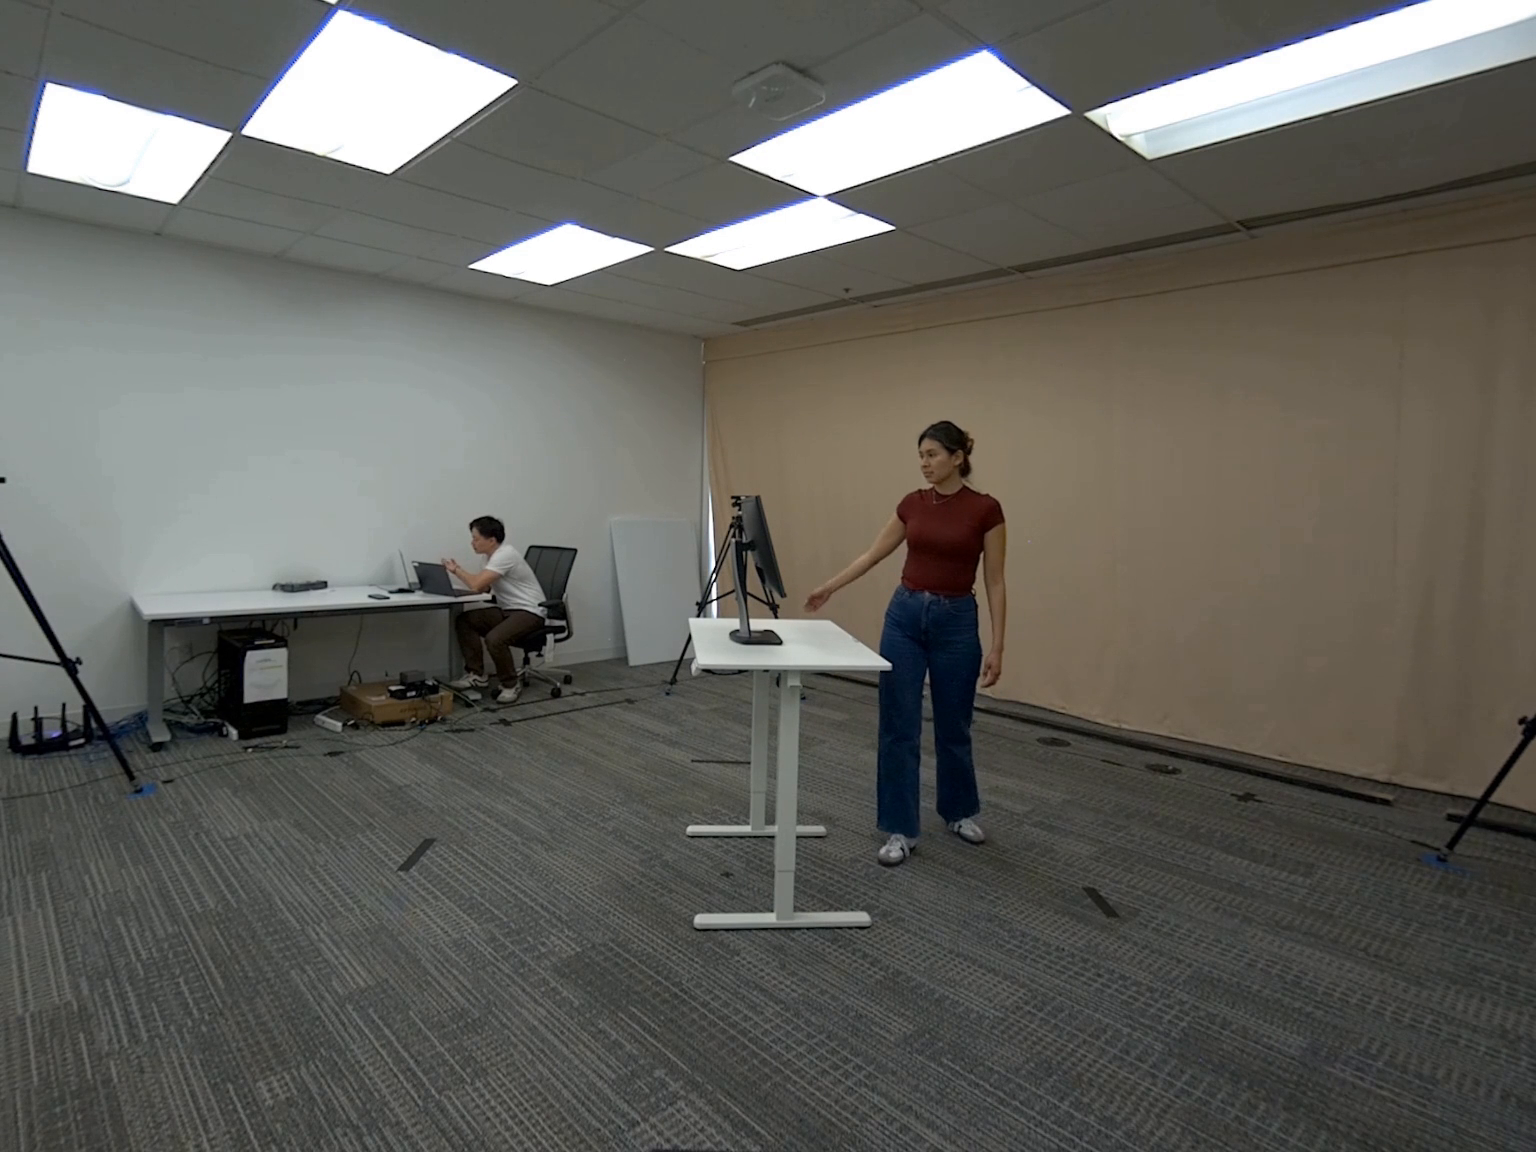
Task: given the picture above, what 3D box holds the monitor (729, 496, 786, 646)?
[{"bbox_3d":[-0.058,-0.025,3.034,0.186,0.521,0.544,-1,4,-9],"label":"monitor"}]
